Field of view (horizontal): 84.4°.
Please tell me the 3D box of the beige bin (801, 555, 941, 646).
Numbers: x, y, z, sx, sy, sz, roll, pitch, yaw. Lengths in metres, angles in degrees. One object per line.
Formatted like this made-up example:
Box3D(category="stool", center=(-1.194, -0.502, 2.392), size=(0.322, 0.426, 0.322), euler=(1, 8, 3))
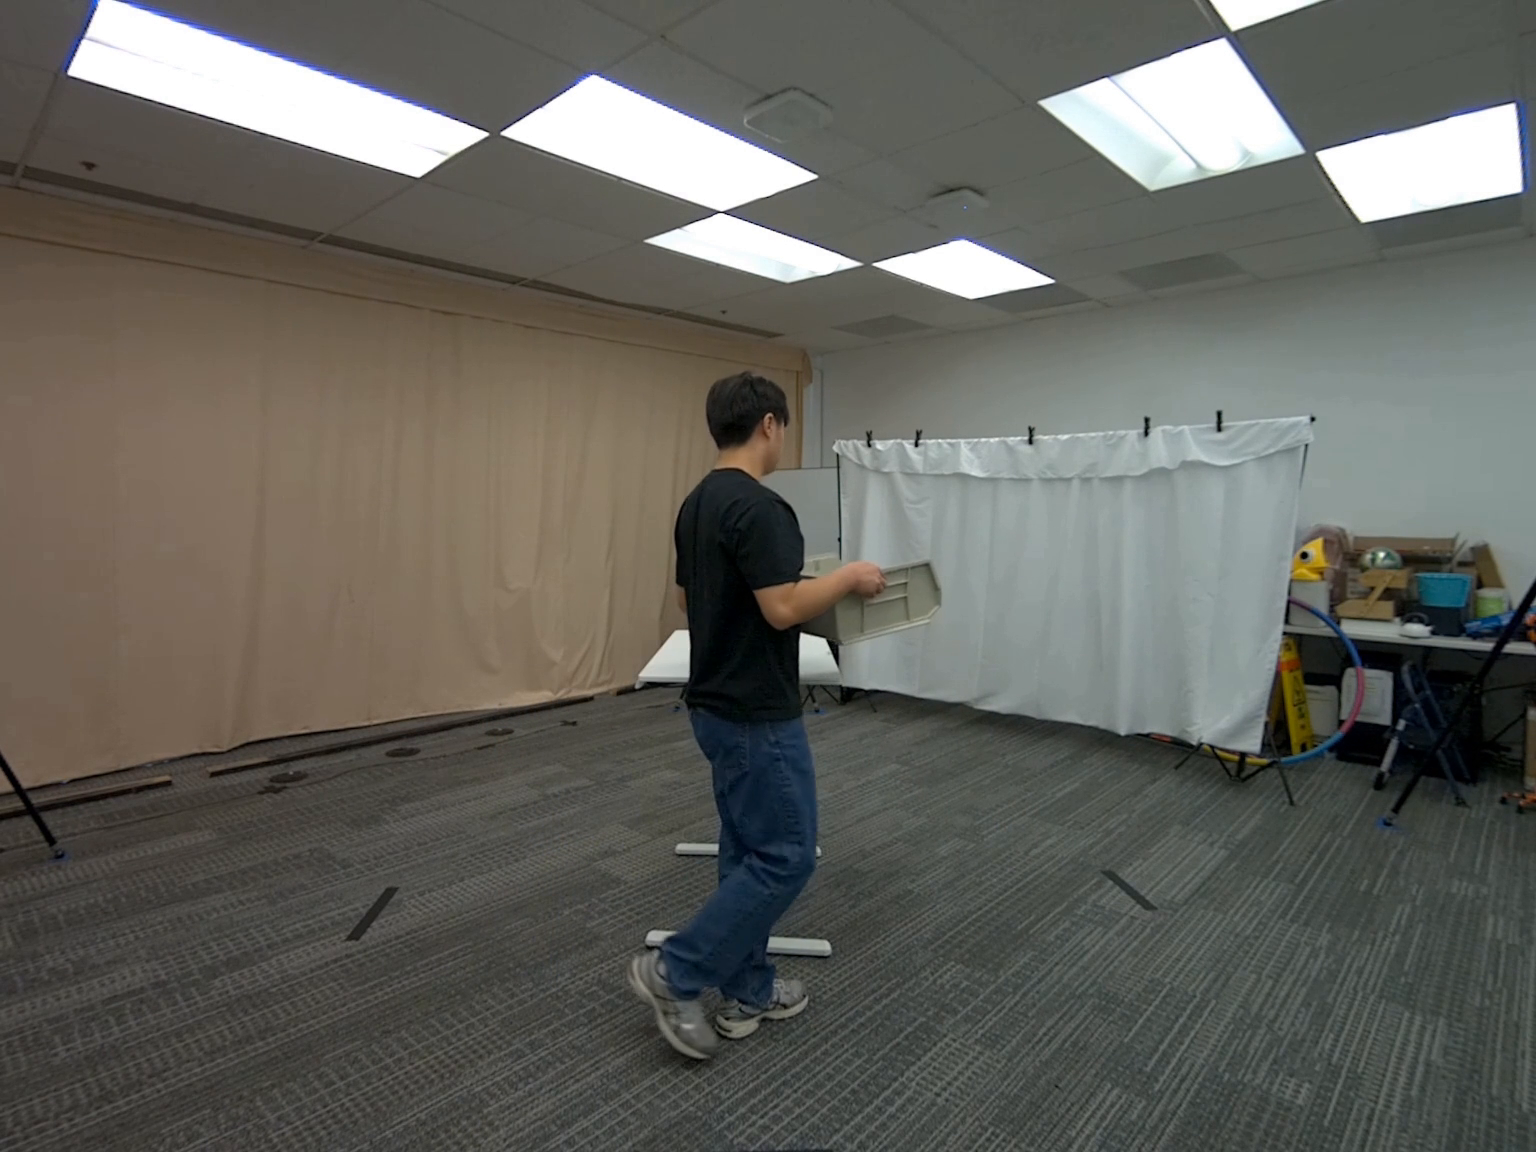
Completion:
Box3D(category="beige bin", center=(0.221, 0.053, 2.429), size=(0.368, 0.188, 0.435), euler=(-11, 9, -32))
